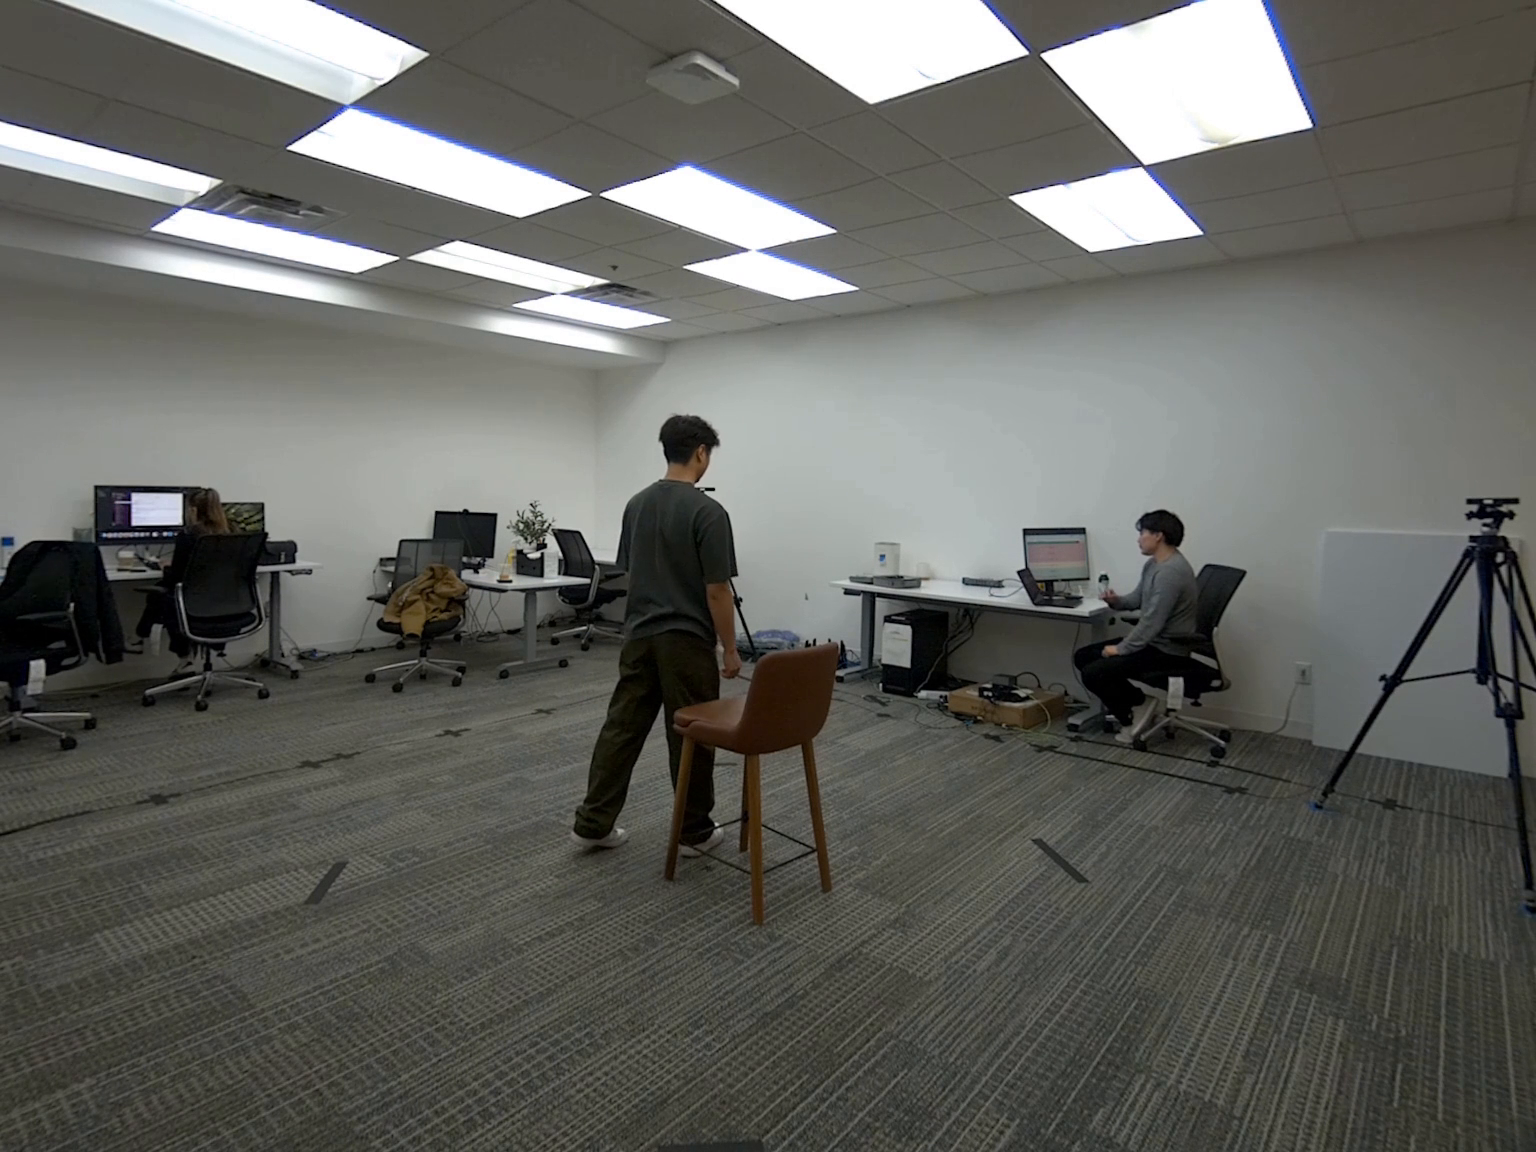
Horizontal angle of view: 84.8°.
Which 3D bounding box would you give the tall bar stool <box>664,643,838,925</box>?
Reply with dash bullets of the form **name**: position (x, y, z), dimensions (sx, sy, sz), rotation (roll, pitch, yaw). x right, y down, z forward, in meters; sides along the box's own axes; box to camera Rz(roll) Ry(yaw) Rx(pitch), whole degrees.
- **tall bar stool**: position (-0.059, 0.646, 2.964), dimensions (0.484, 0.886, 0.442), rotation (7, 6, 44)
